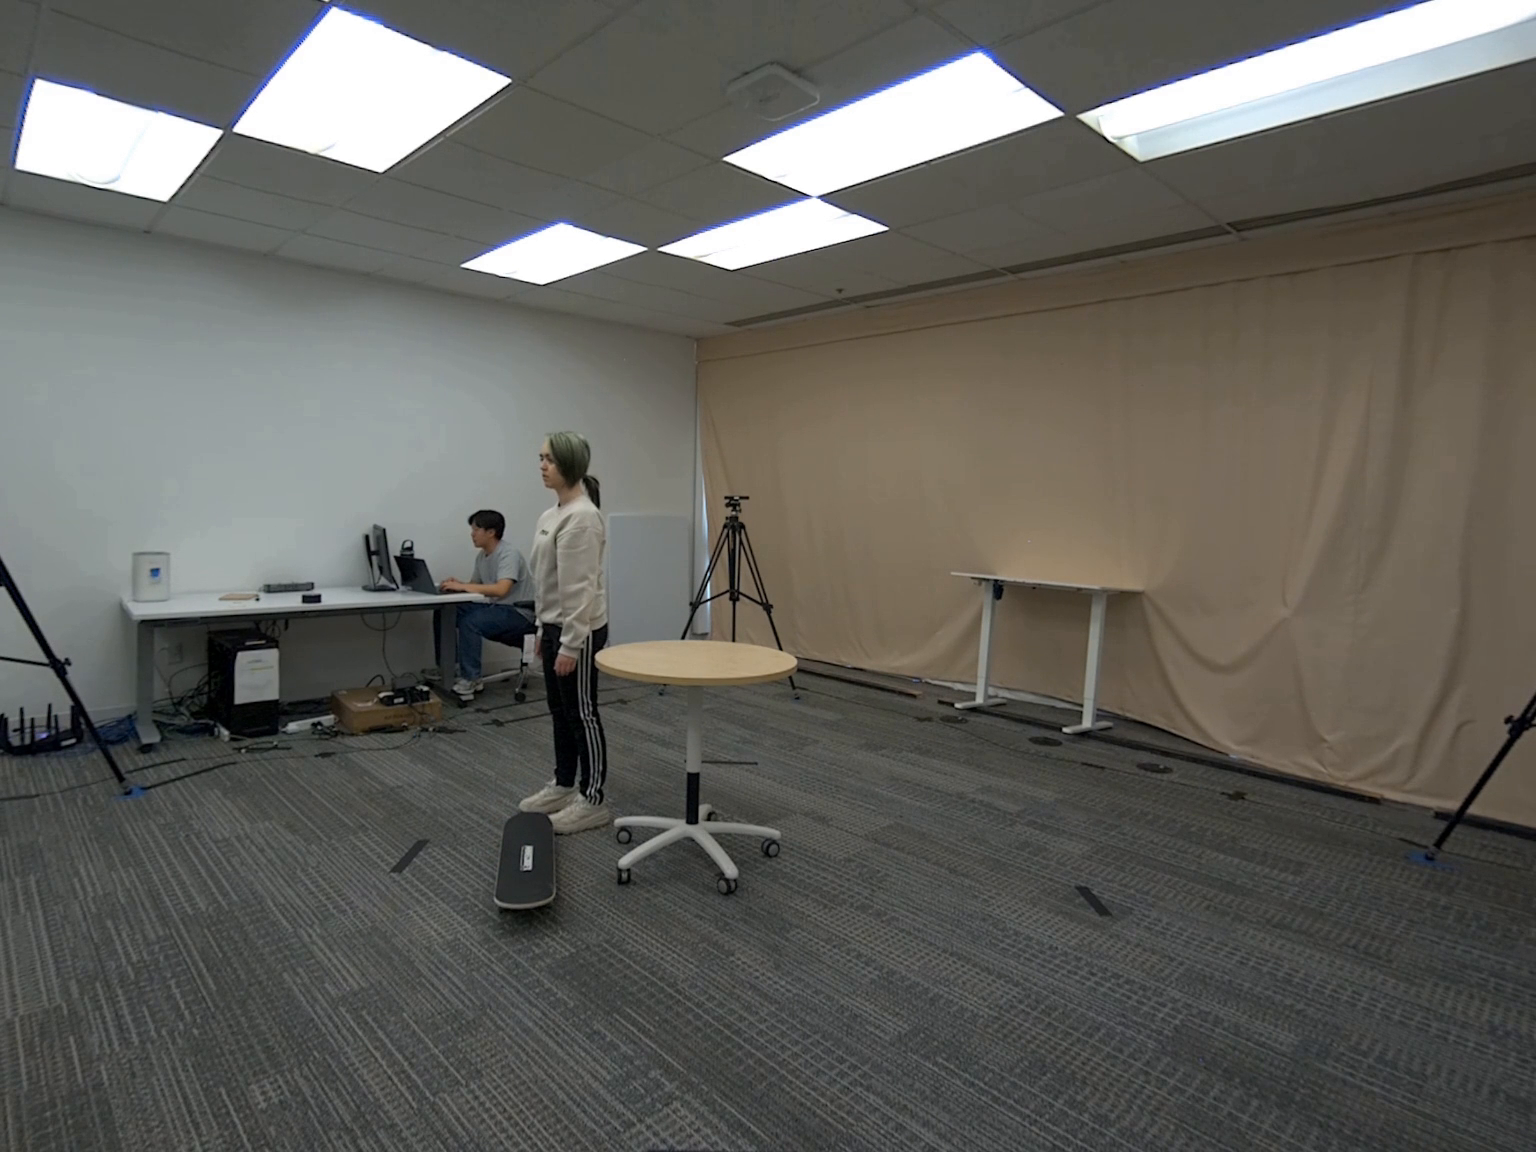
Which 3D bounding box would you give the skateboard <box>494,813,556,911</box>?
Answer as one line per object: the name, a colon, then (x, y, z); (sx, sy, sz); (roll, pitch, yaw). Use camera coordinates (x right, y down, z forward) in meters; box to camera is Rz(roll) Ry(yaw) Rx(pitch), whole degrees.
skateboard: (-0.851, 1.028, 3.021); (0.191, 0.110, 0.796); (-3, 5, -14)
